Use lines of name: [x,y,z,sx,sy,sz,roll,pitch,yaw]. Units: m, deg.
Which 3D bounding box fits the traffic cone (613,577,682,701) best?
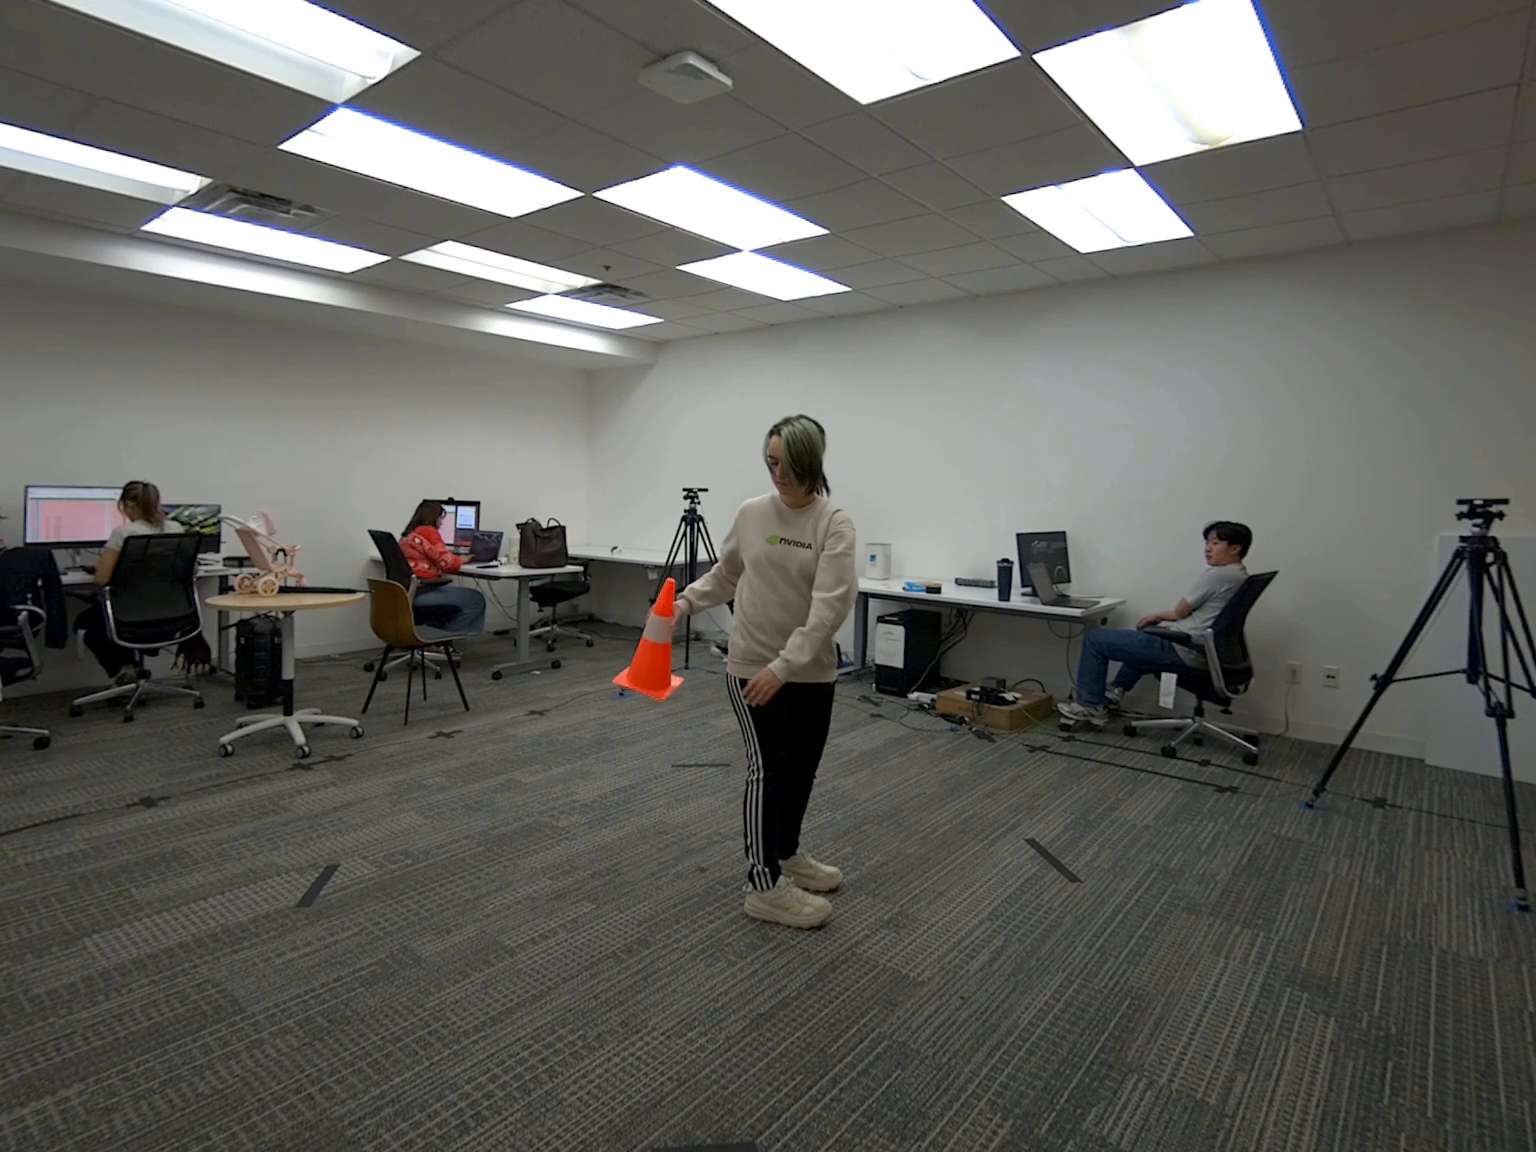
traffic cone: [-0.378,0.188,2.920,0.208,0.380,0.202,16,12,16]
